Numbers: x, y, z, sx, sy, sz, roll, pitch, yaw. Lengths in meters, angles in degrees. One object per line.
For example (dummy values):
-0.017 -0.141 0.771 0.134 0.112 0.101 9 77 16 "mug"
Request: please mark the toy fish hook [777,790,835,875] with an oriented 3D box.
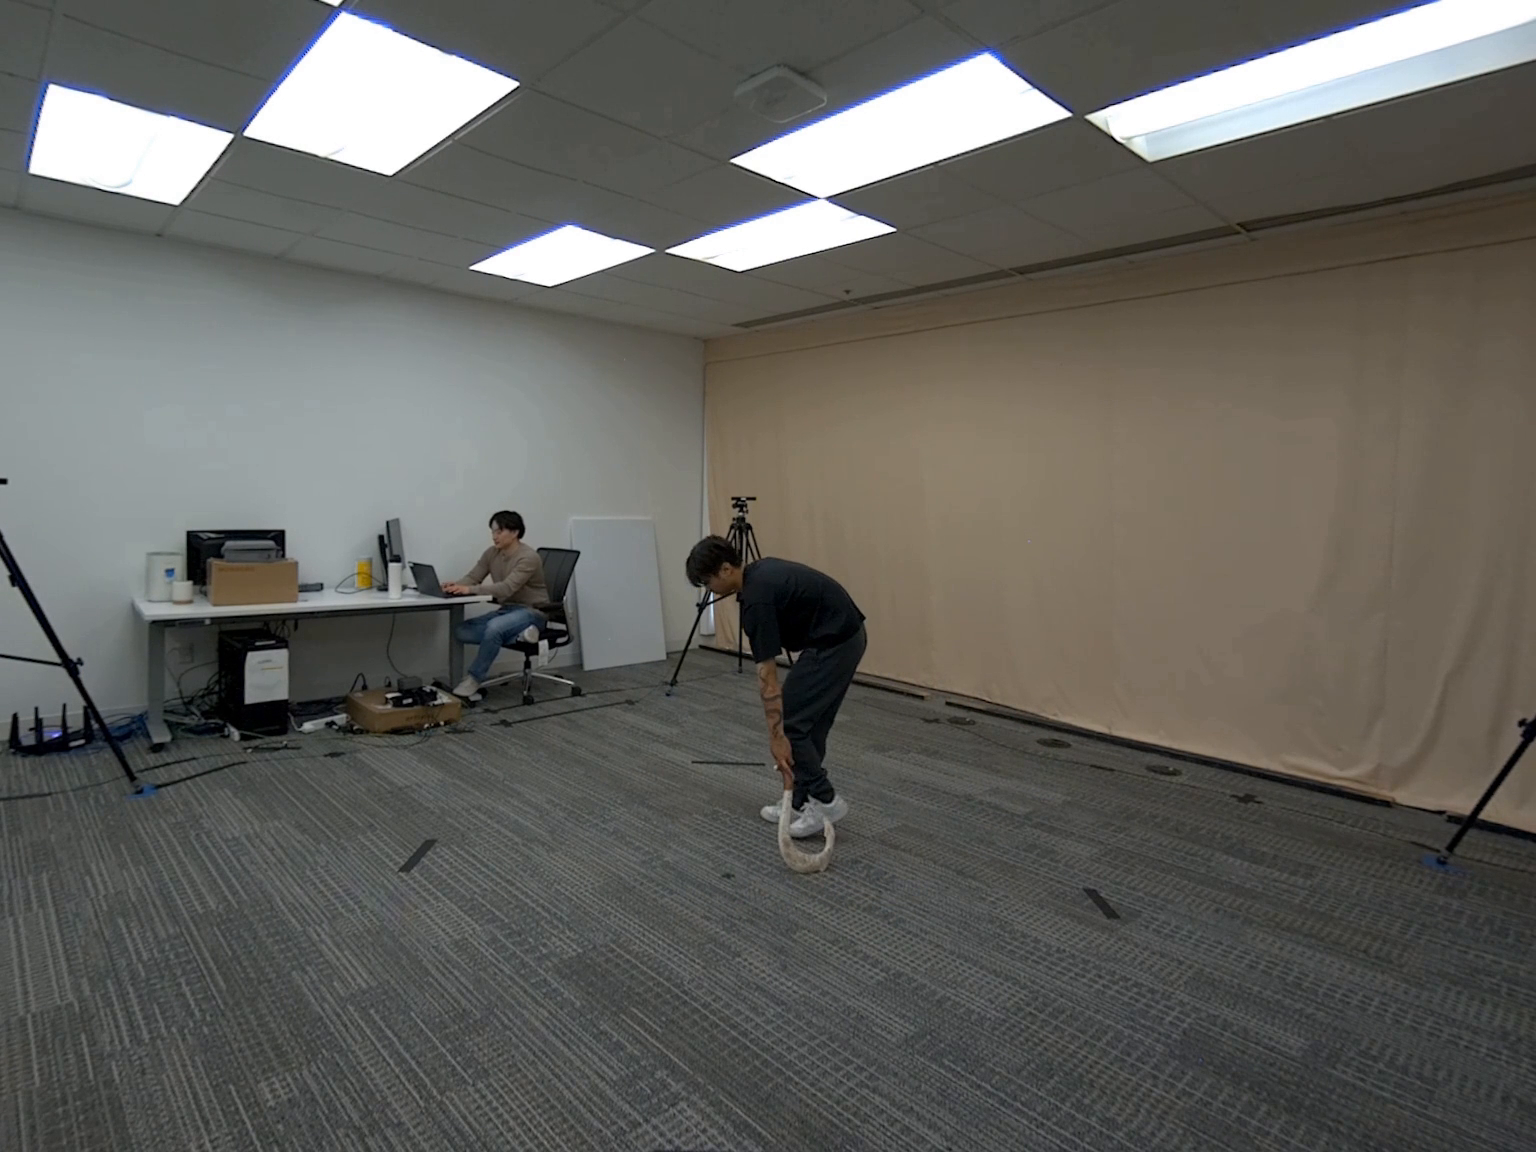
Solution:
0.125 0.890 3.269 0.221 0.517 0.048 1 -29 -19 "toy fish hook"
